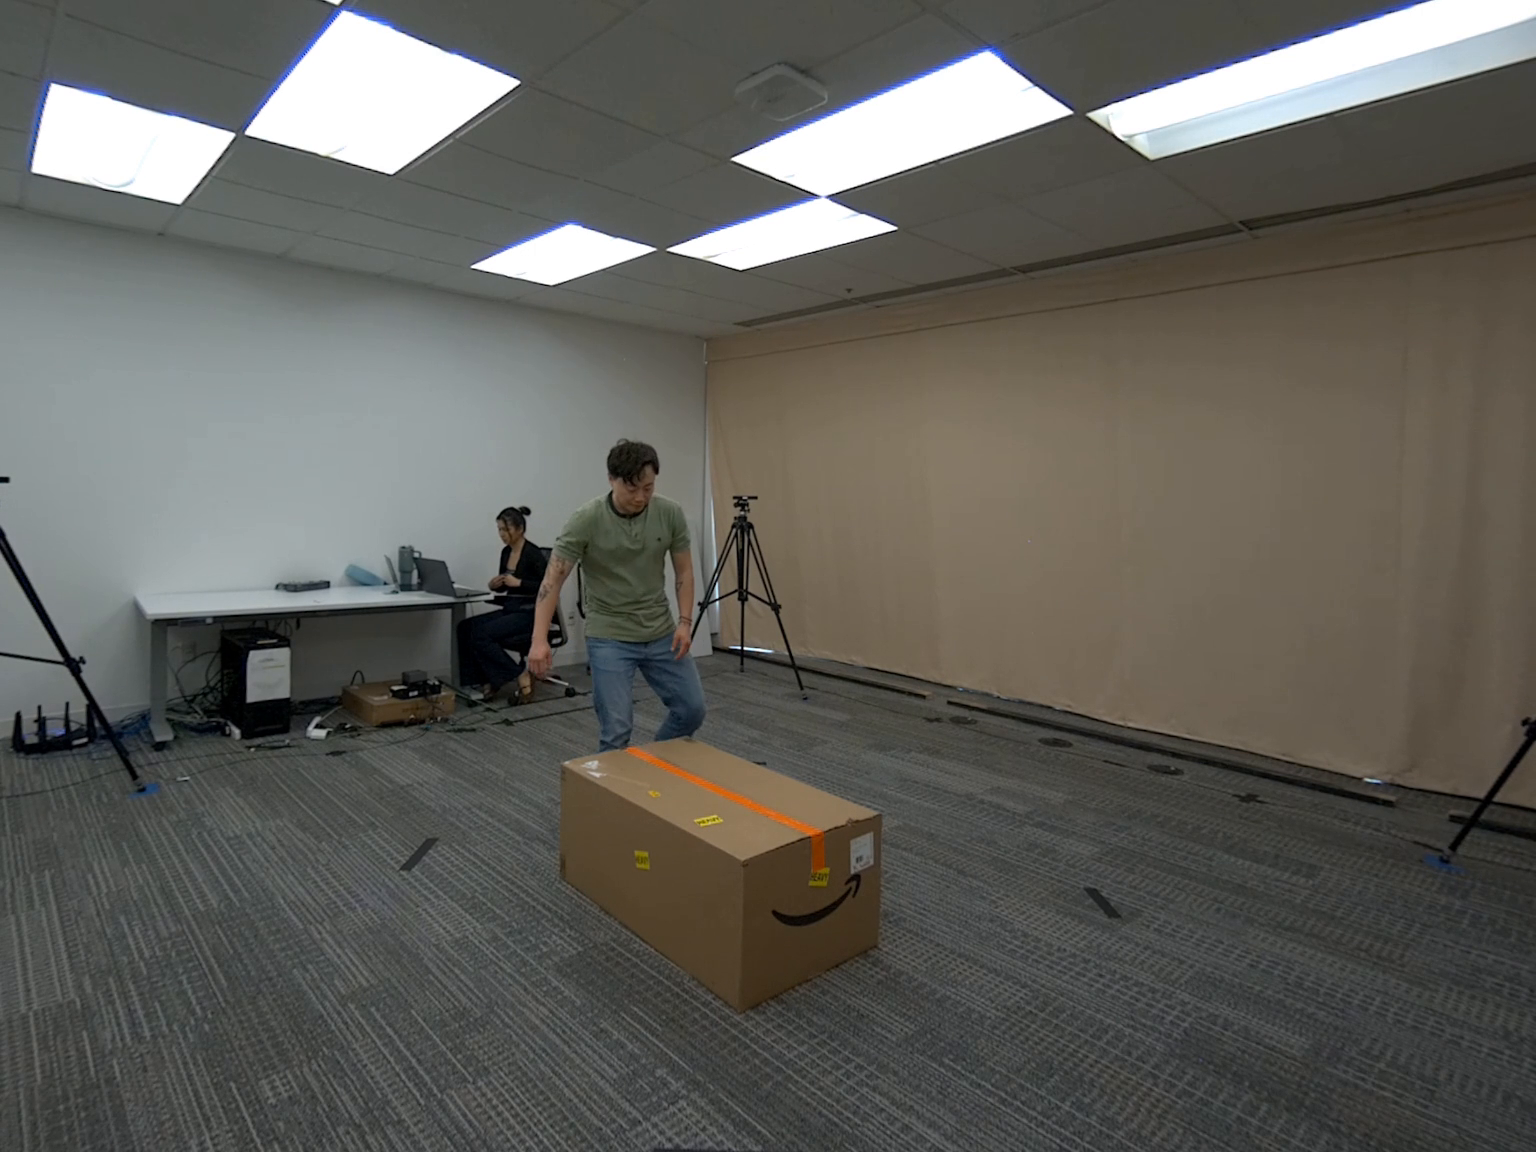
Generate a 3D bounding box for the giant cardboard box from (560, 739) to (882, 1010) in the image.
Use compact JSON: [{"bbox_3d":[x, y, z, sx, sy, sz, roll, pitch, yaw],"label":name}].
[{"bbox_3d":[-0.204,0.916,2.825,0.564,0.425,1.052,-3,7,-41],"label":"giant cardboard box"}]
